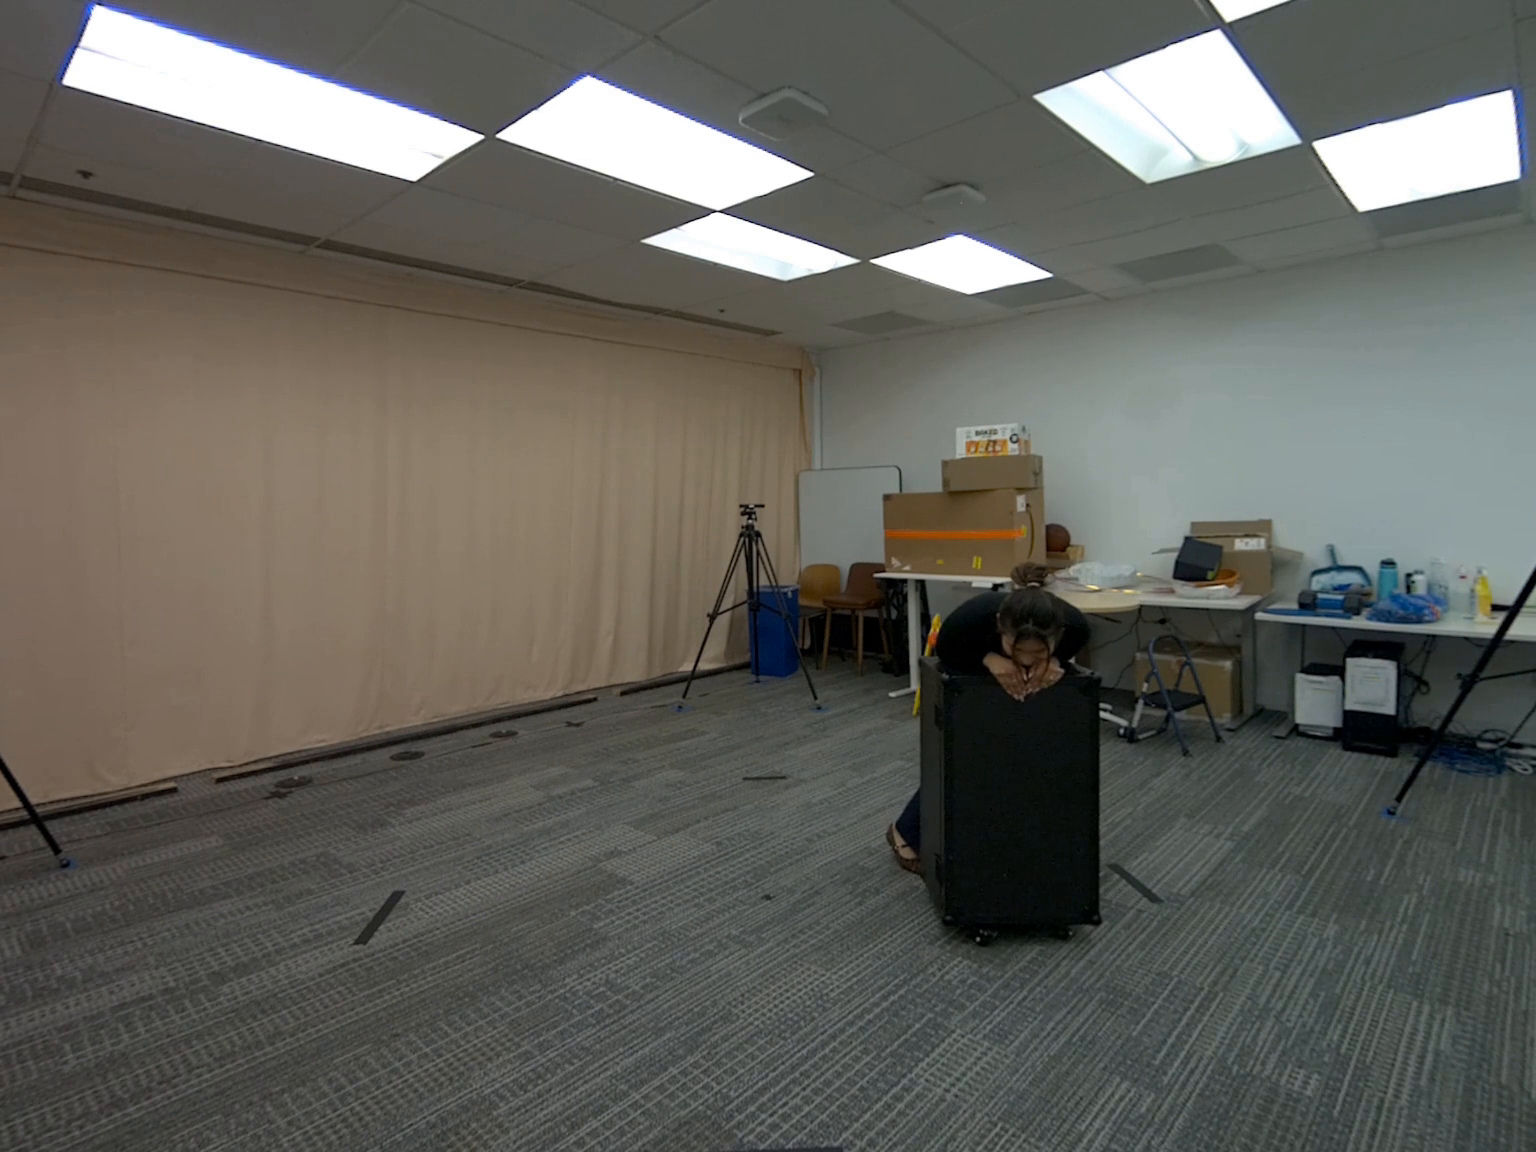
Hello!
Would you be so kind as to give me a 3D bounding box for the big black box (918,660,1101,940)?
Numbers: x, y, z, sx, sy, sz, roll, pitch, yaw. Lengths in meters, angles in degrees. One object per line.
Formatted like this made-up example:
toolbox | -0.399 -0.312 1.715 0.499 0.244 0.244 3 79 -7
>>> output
big black box | 0.782 0.719 2.780 0.522 0.860 0.396 -1 2 1
